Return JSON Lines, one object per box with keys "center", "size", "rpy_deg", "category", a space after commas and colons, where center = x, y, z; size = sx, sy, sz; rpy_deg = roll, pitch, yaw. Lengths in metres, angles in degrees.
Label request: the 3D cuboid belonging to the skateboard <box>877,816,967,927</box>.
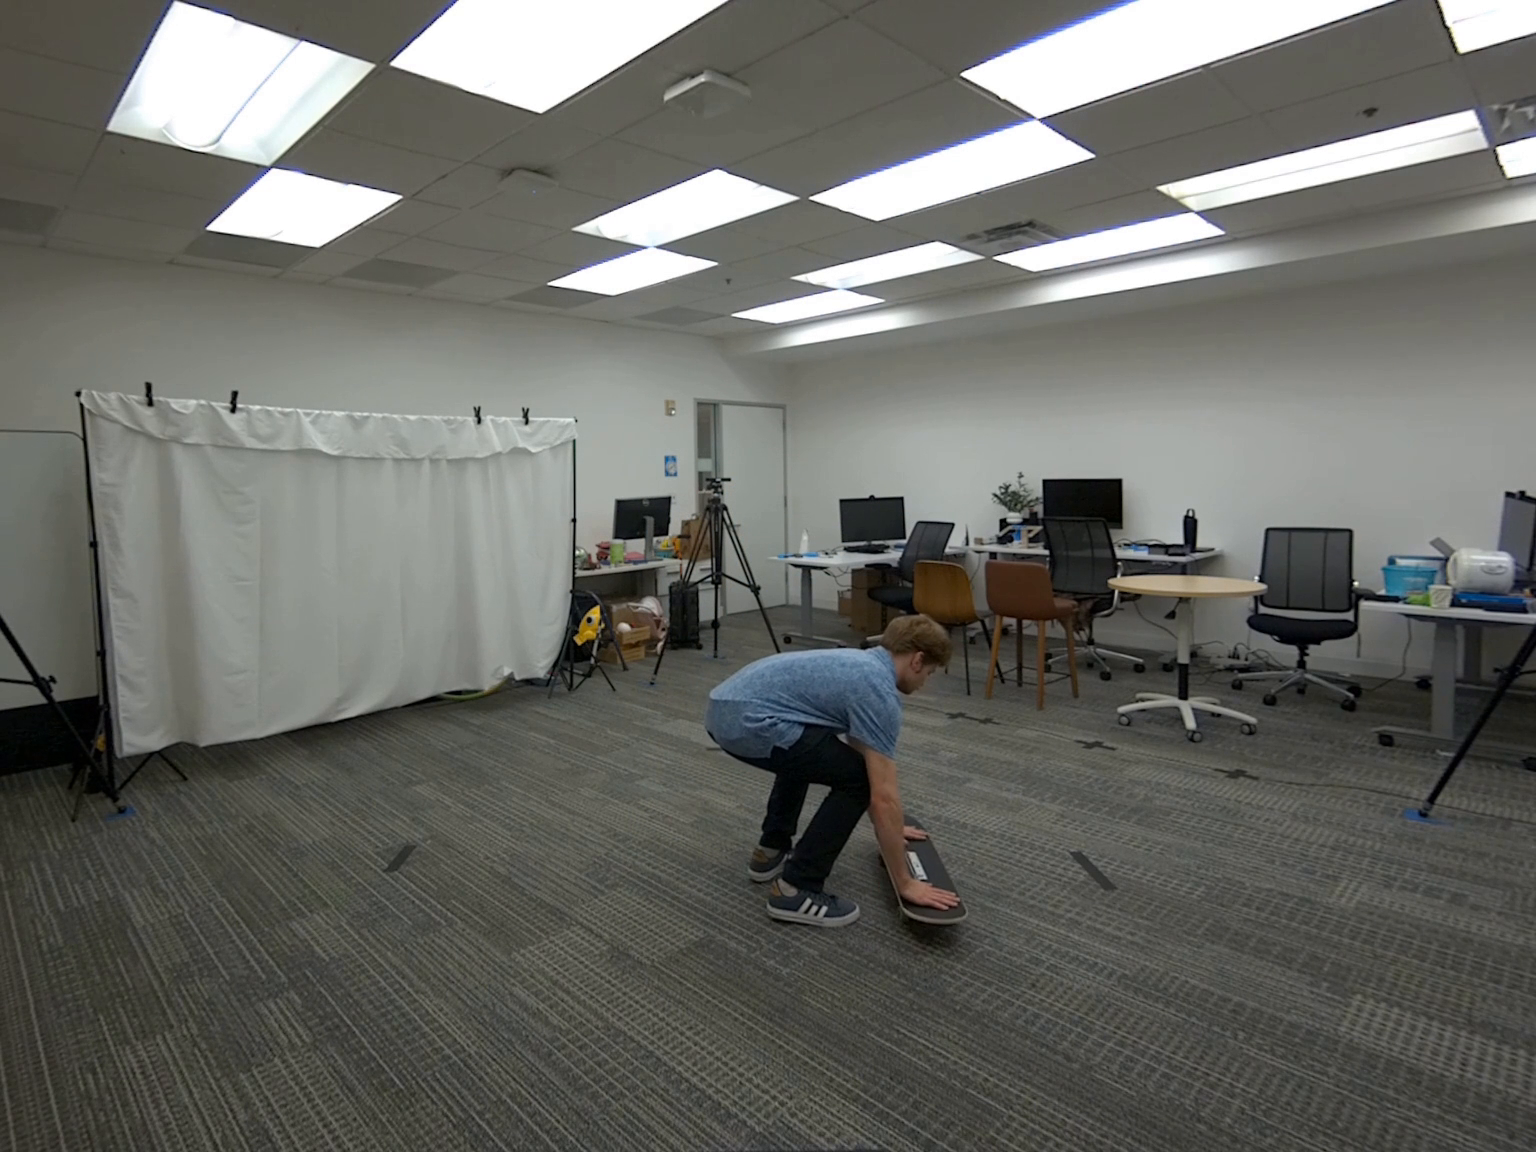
{"center": [0.490, 0.993, 2.870], "size": [0.193, 0.110, 0.789], "rpy_deg": [0, 7, -2], "category": "skateboard"}
